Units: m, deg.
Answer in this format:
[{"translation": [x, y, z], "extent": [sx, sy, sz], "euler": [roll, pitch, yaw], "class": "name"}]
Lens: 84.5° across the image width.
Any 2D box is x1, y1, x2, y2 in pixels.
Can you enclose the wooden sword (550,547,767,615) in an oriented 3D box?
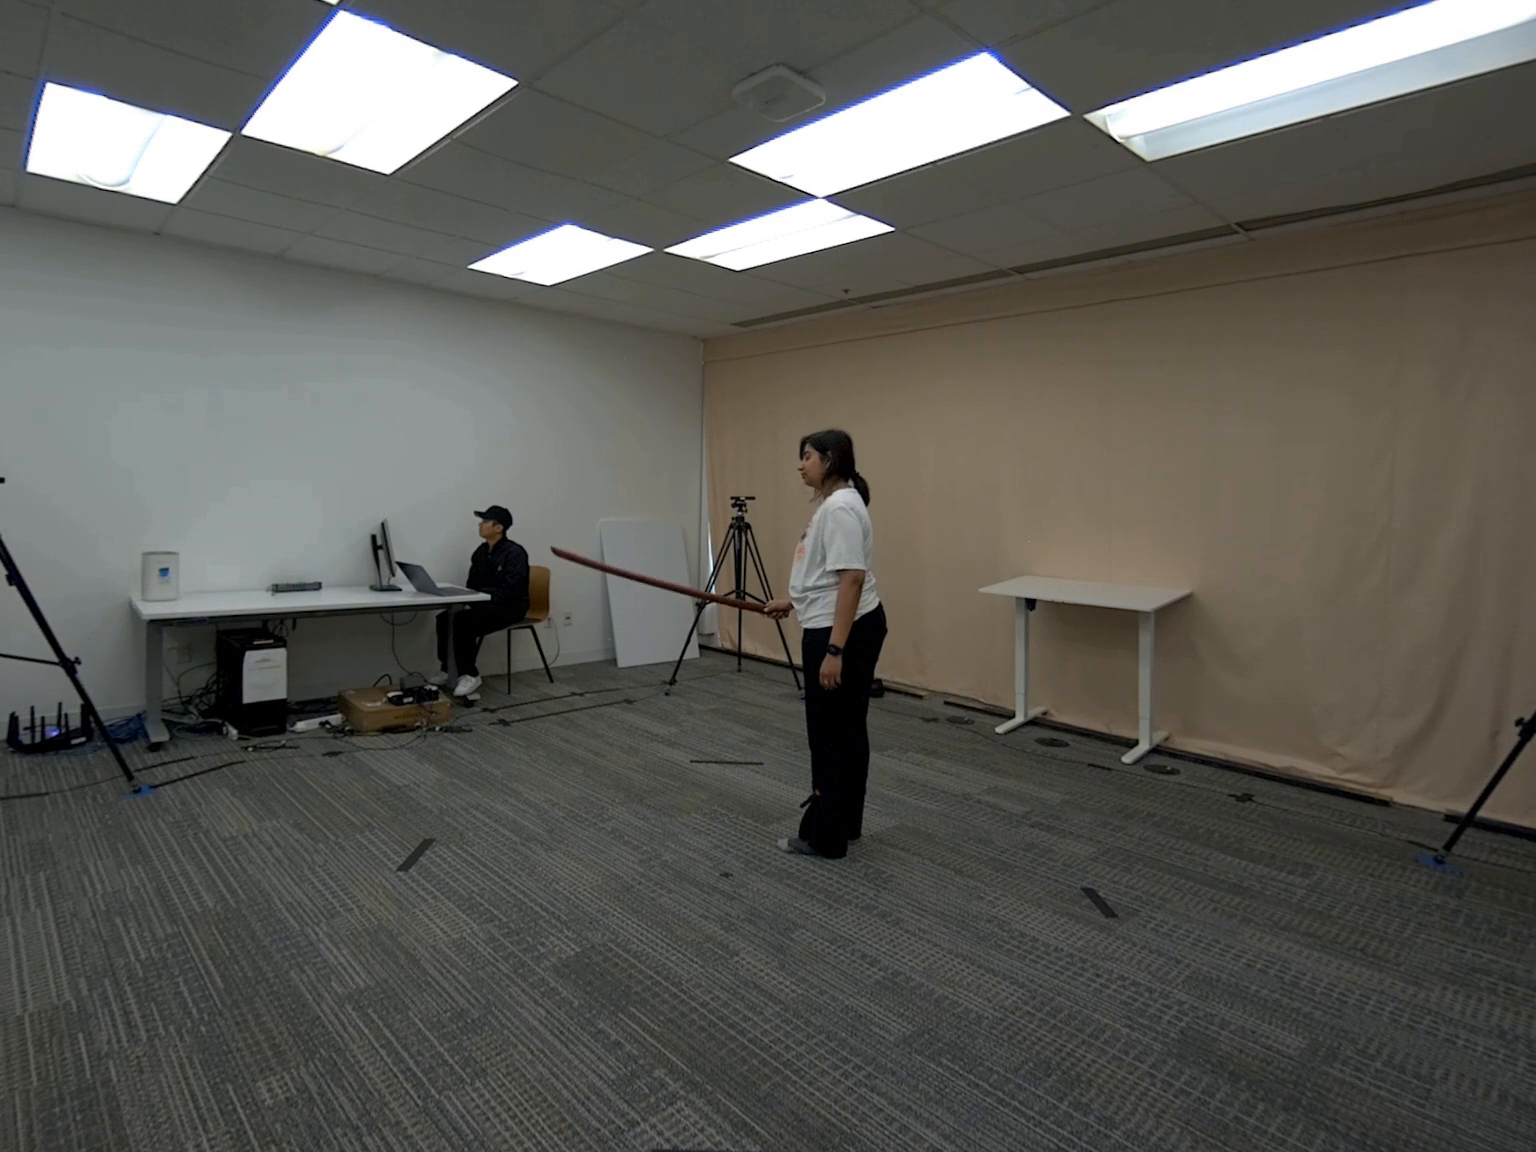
[{"translation": [-0.381, 0.046, 3.415], "extent": [1.010, 0.024, 0.051], "euler": [18, -26, -15], "class": "wooden sword"}]
